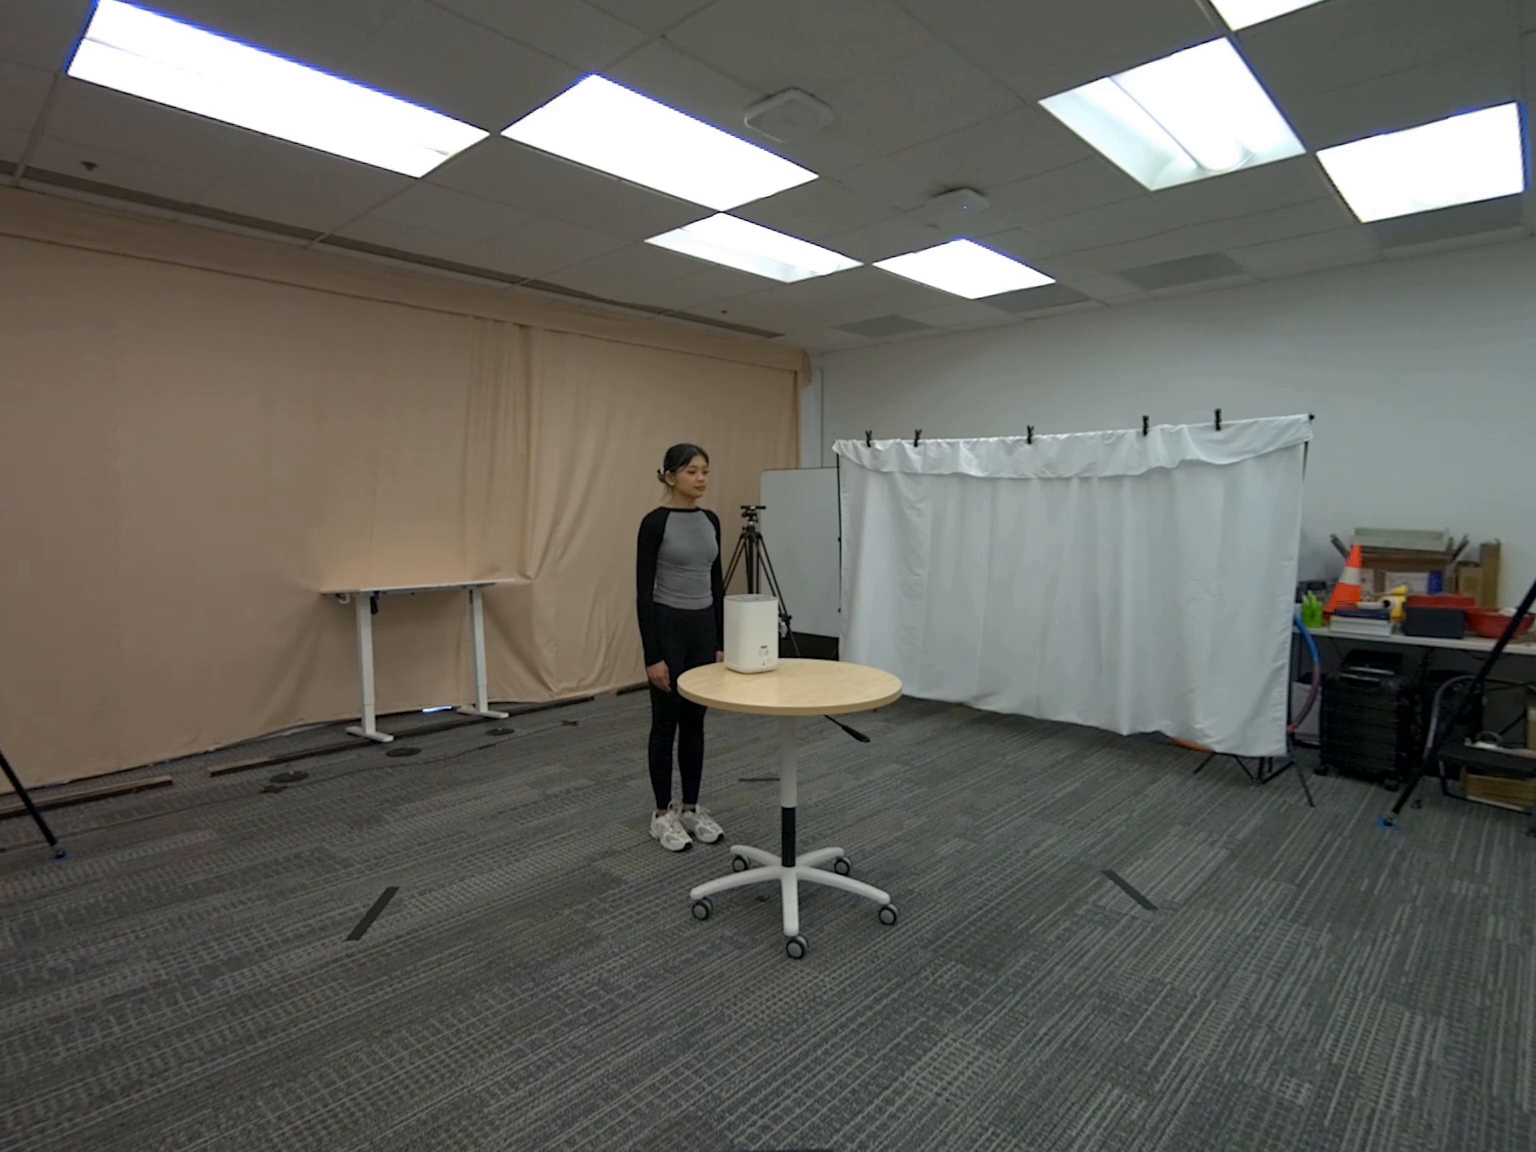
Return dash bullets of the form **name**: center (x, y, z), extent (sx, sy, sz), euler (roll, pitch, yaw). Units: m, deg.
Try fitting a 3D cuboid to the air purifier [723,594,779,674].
- **air purifier**: center (-0.059, 0.205, 3.061), extent (0.167, 0.264, 0.176), euler (-4, 5, -31)
